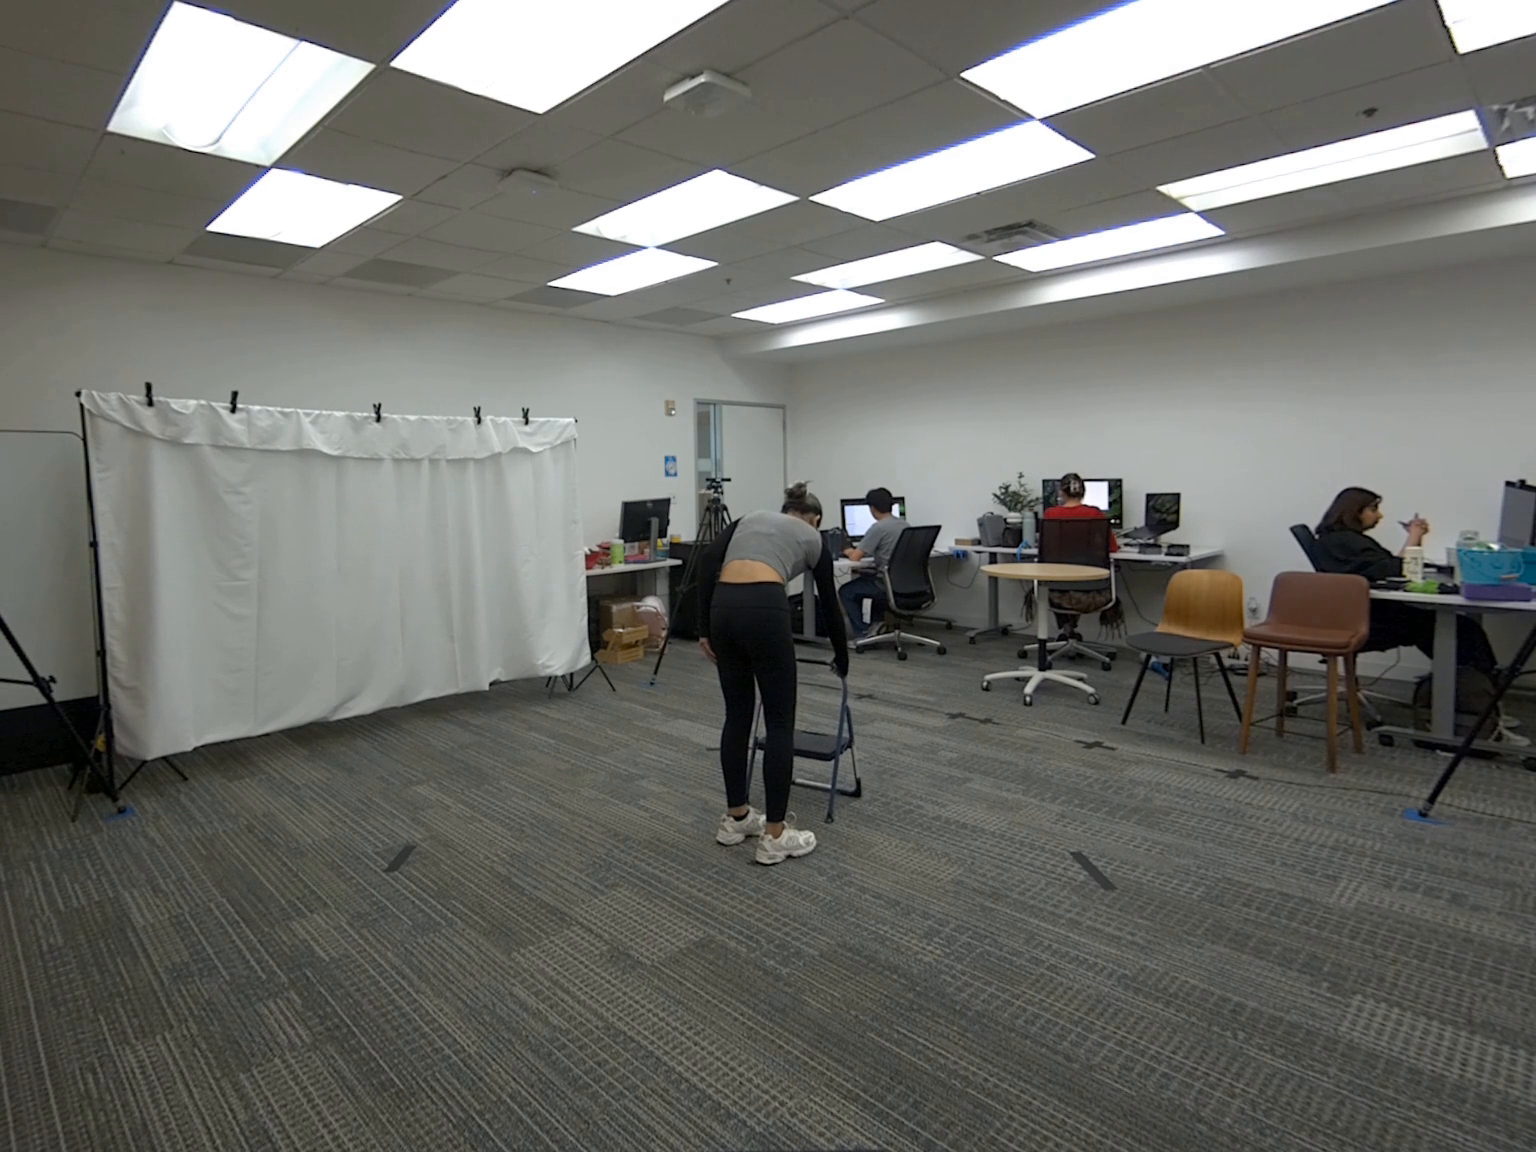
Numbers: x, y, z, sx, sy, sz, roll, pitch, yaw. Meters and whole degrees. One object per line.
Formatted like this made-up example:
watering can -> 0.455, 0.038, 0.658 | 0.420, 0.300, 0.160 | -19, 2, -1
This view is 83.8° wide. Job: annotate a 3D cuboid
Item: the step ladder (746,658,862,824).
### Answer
step ladder -> 0.153, 0.671, 3.684 | 0.442, 0.604, 0.341 | 3, 5, 31
